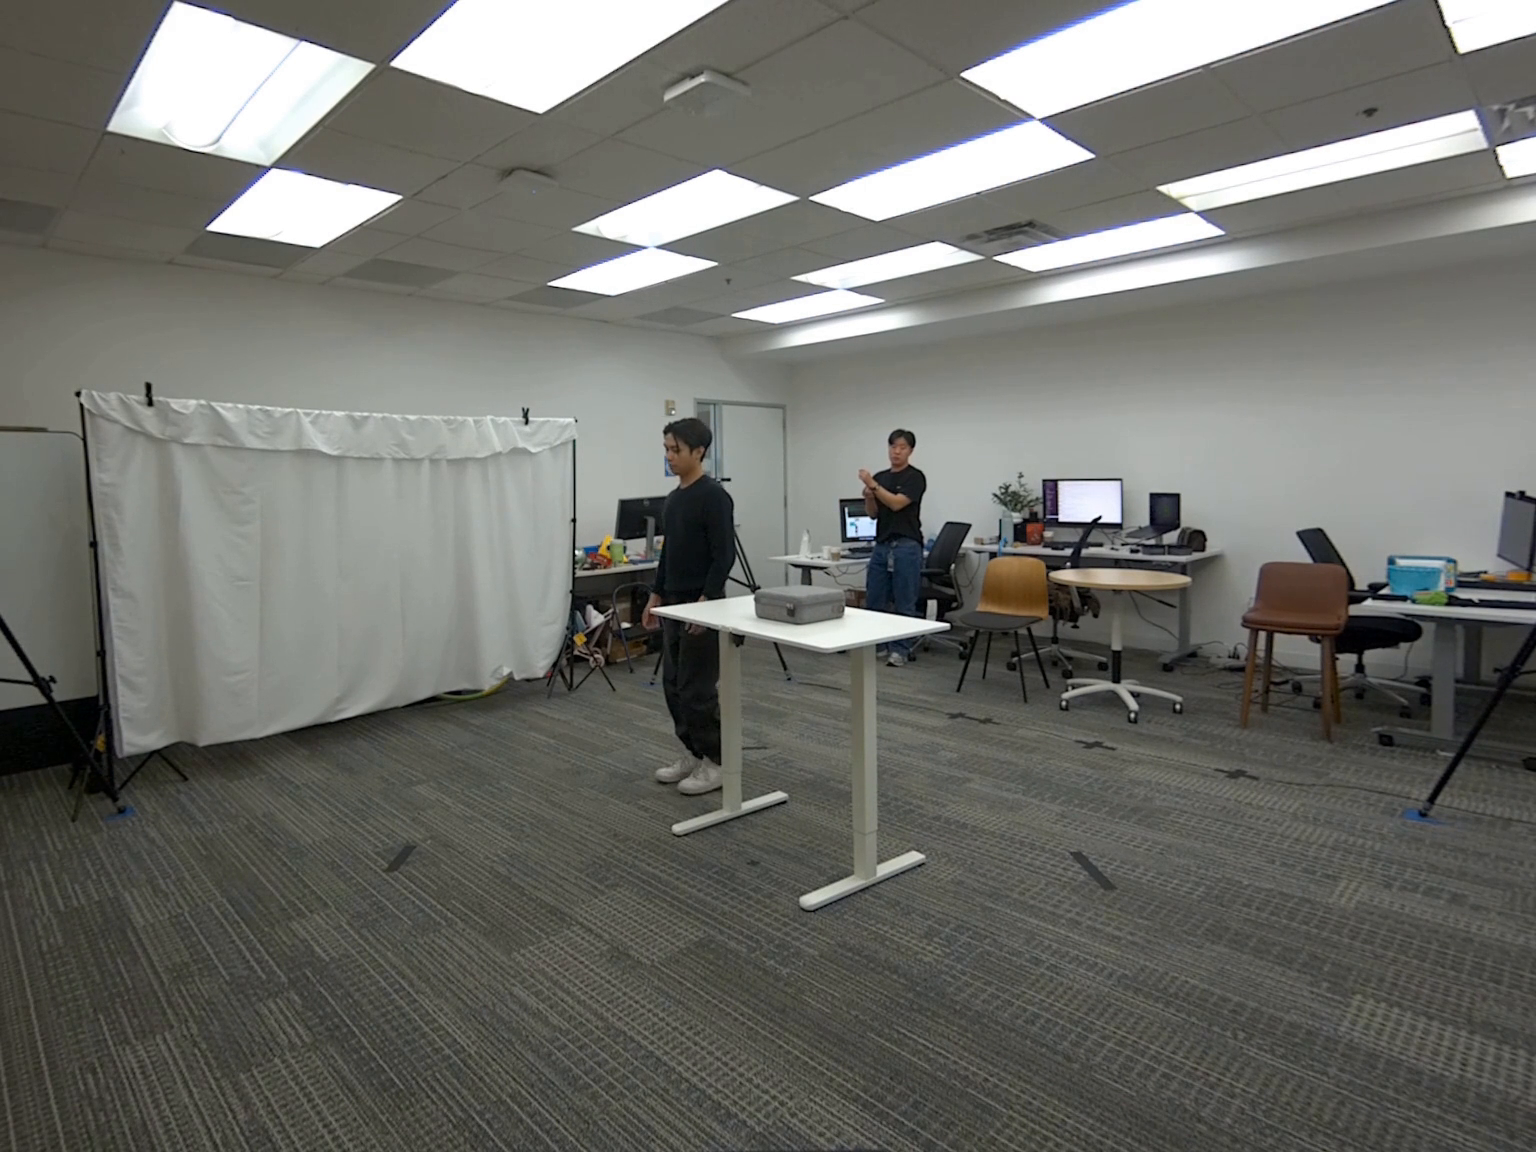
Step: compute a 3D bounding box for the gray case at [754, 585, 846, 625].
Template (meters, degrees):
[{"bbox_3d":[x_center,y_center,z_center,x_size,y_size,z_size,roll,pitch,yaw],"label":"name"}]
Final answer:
[{"bbox_3d":[0.117,0.098,3.140,0.254,0.104,0.265,-6,7,-40],"label":"gray case"}]
